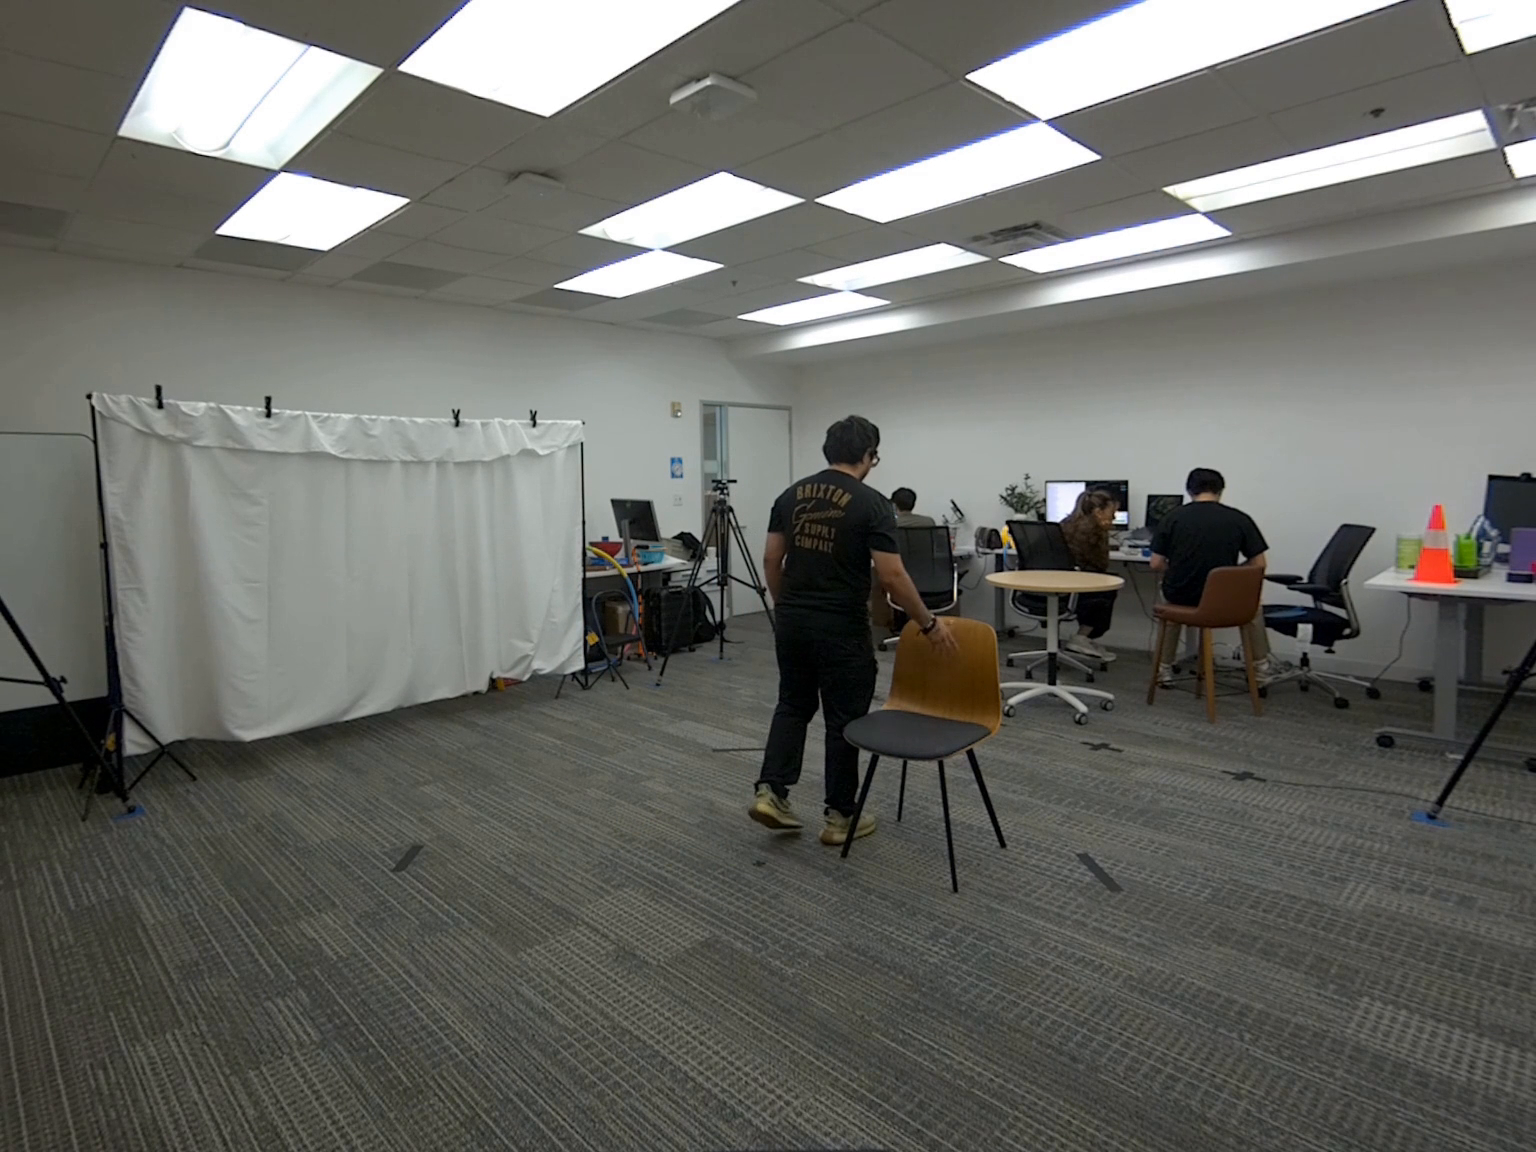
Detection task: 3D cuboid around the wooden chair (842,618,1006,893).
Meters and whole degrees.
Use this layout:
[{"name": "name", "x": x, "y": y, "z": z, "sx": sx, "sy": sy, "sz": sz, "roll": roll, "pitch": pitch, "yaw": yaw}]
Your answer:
[{"name": "wooden chair", "x": 0.576, "y": 0.605, "z": 3.132, "sx": 0.492, "sy": 0.877, "sz": 0.508, "roll": 2, "pitch": 1, "yaw": 38}]
